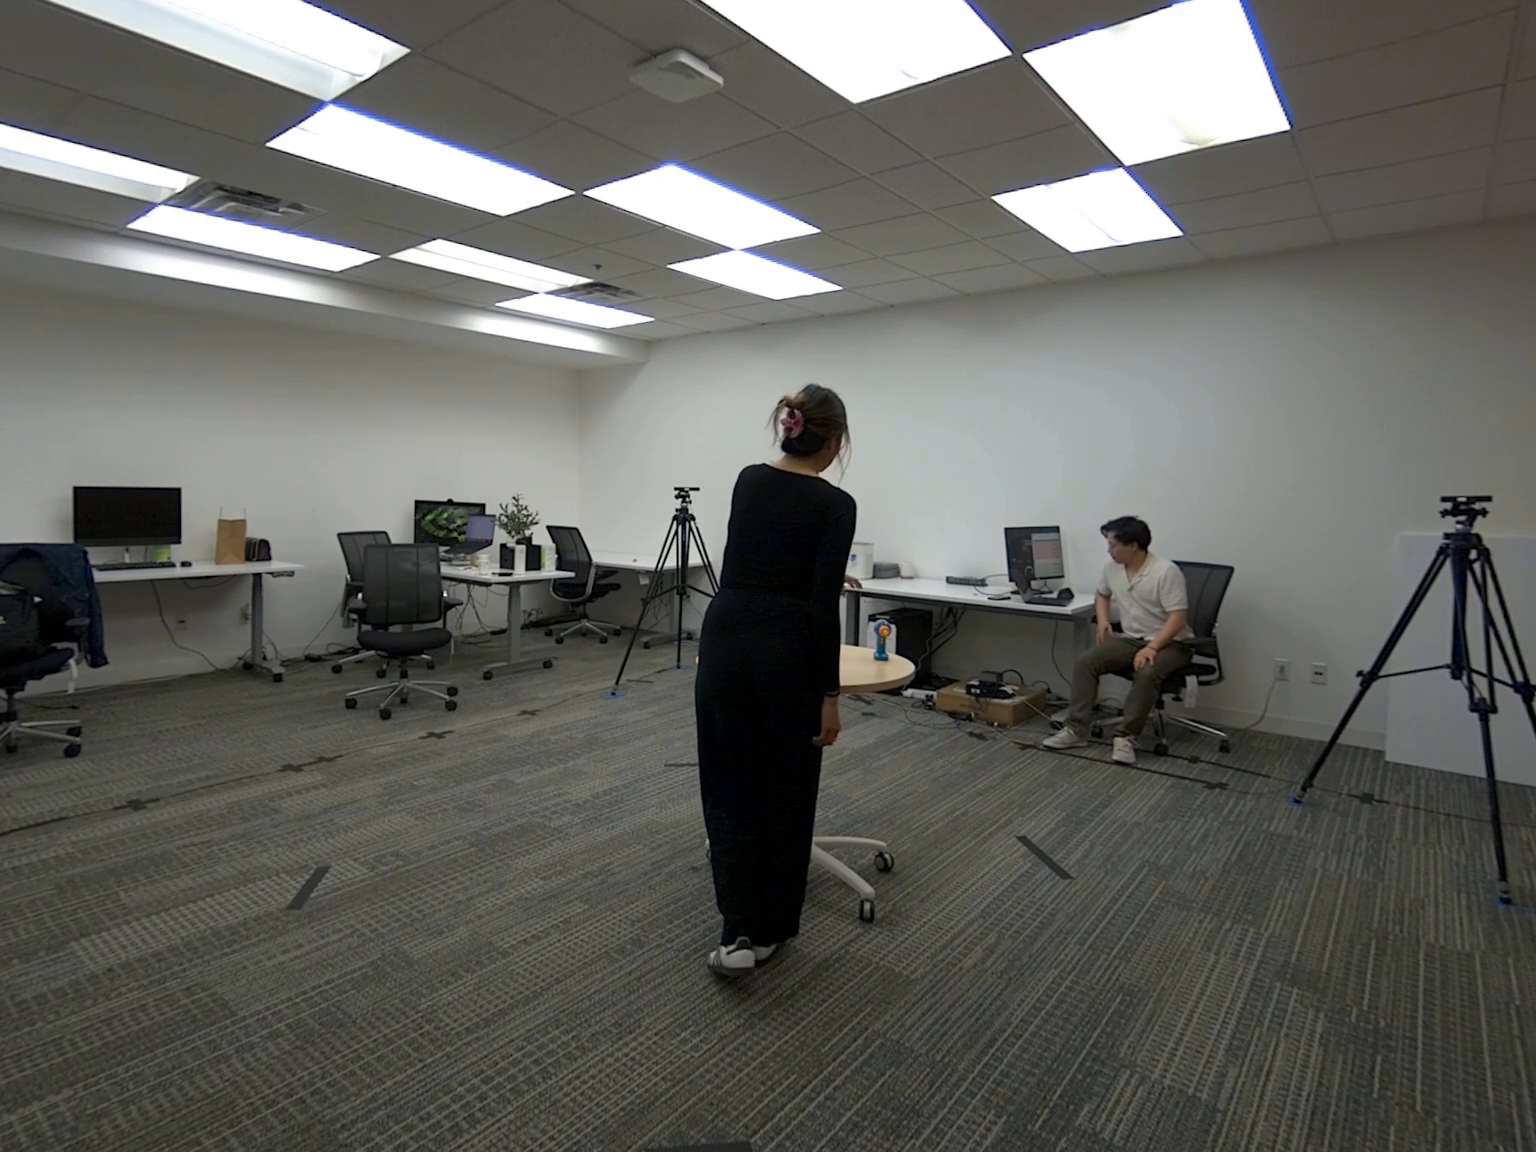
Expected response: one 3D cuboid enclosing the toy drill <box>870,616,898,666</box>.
[{"bbox_3d":[0.413,0.229,3.025,0.061,0.145,0.171,-1,4,-4],"label":"toy drill"}]
